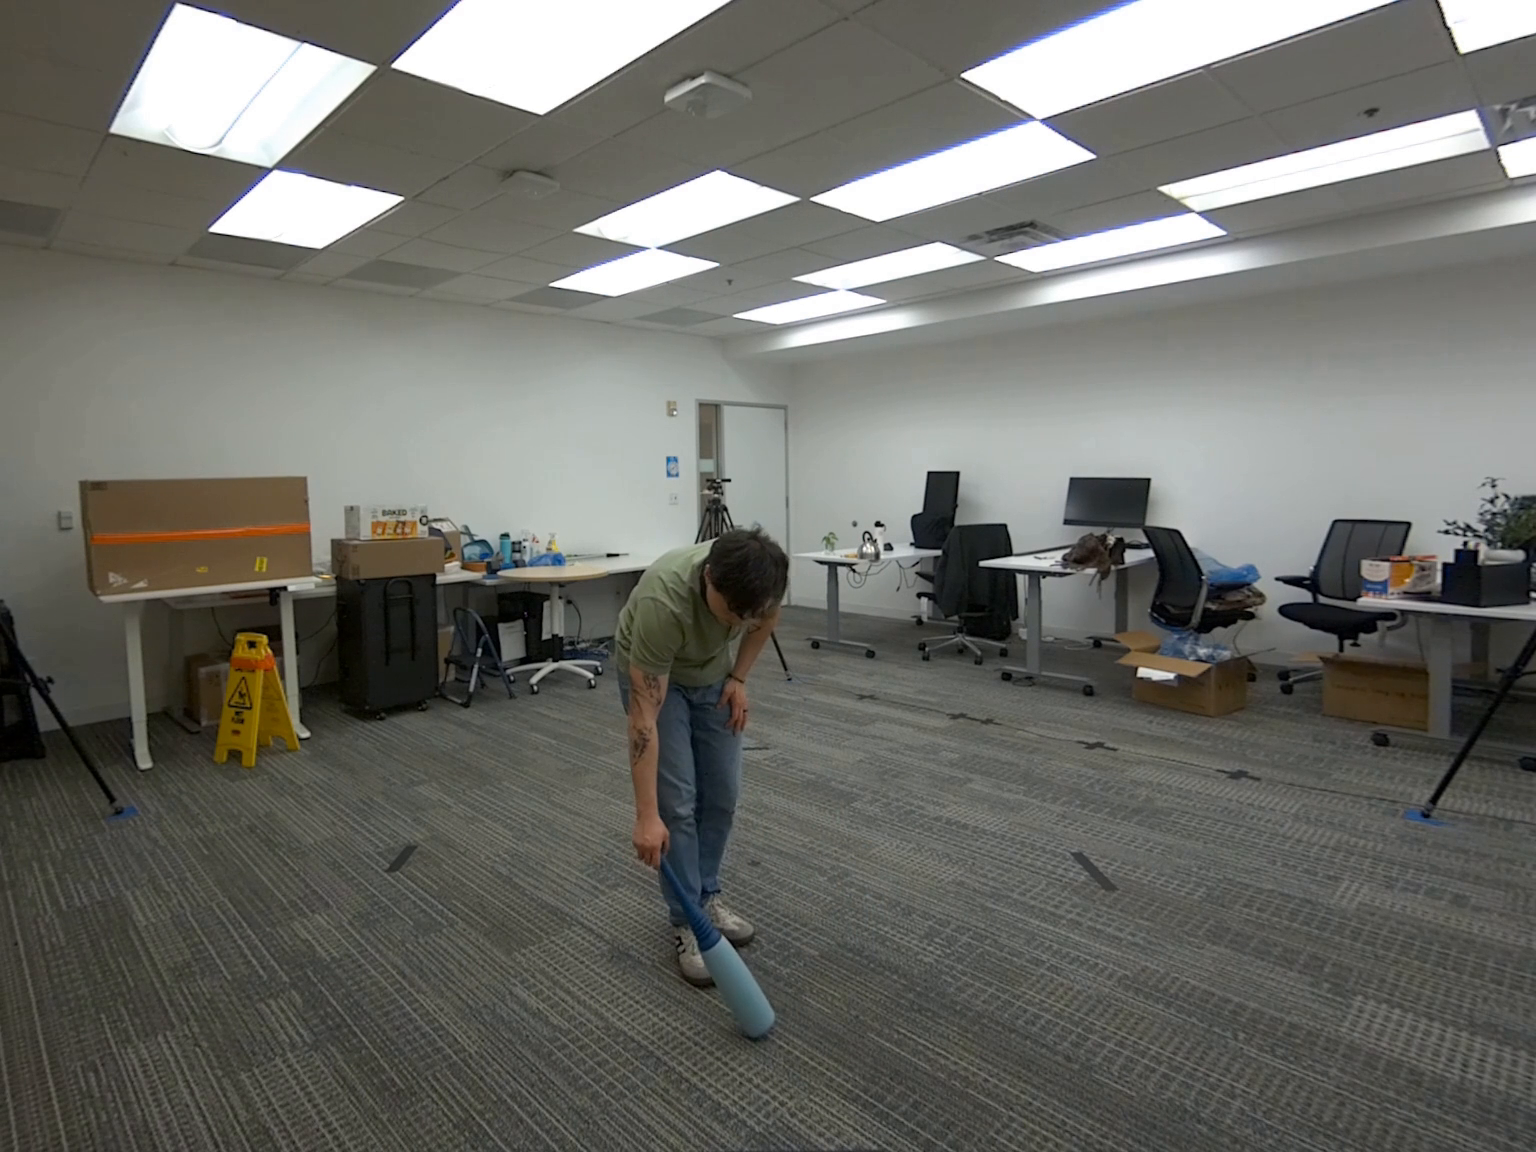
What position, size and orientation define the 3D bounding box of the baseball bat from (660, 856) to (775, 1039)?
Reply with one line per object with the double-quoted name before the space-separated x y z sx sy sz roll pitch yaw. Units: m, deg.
"baseball bat" -0.152 0.916 2.161 0.089 0.544 0.089 -32 -1 -1
